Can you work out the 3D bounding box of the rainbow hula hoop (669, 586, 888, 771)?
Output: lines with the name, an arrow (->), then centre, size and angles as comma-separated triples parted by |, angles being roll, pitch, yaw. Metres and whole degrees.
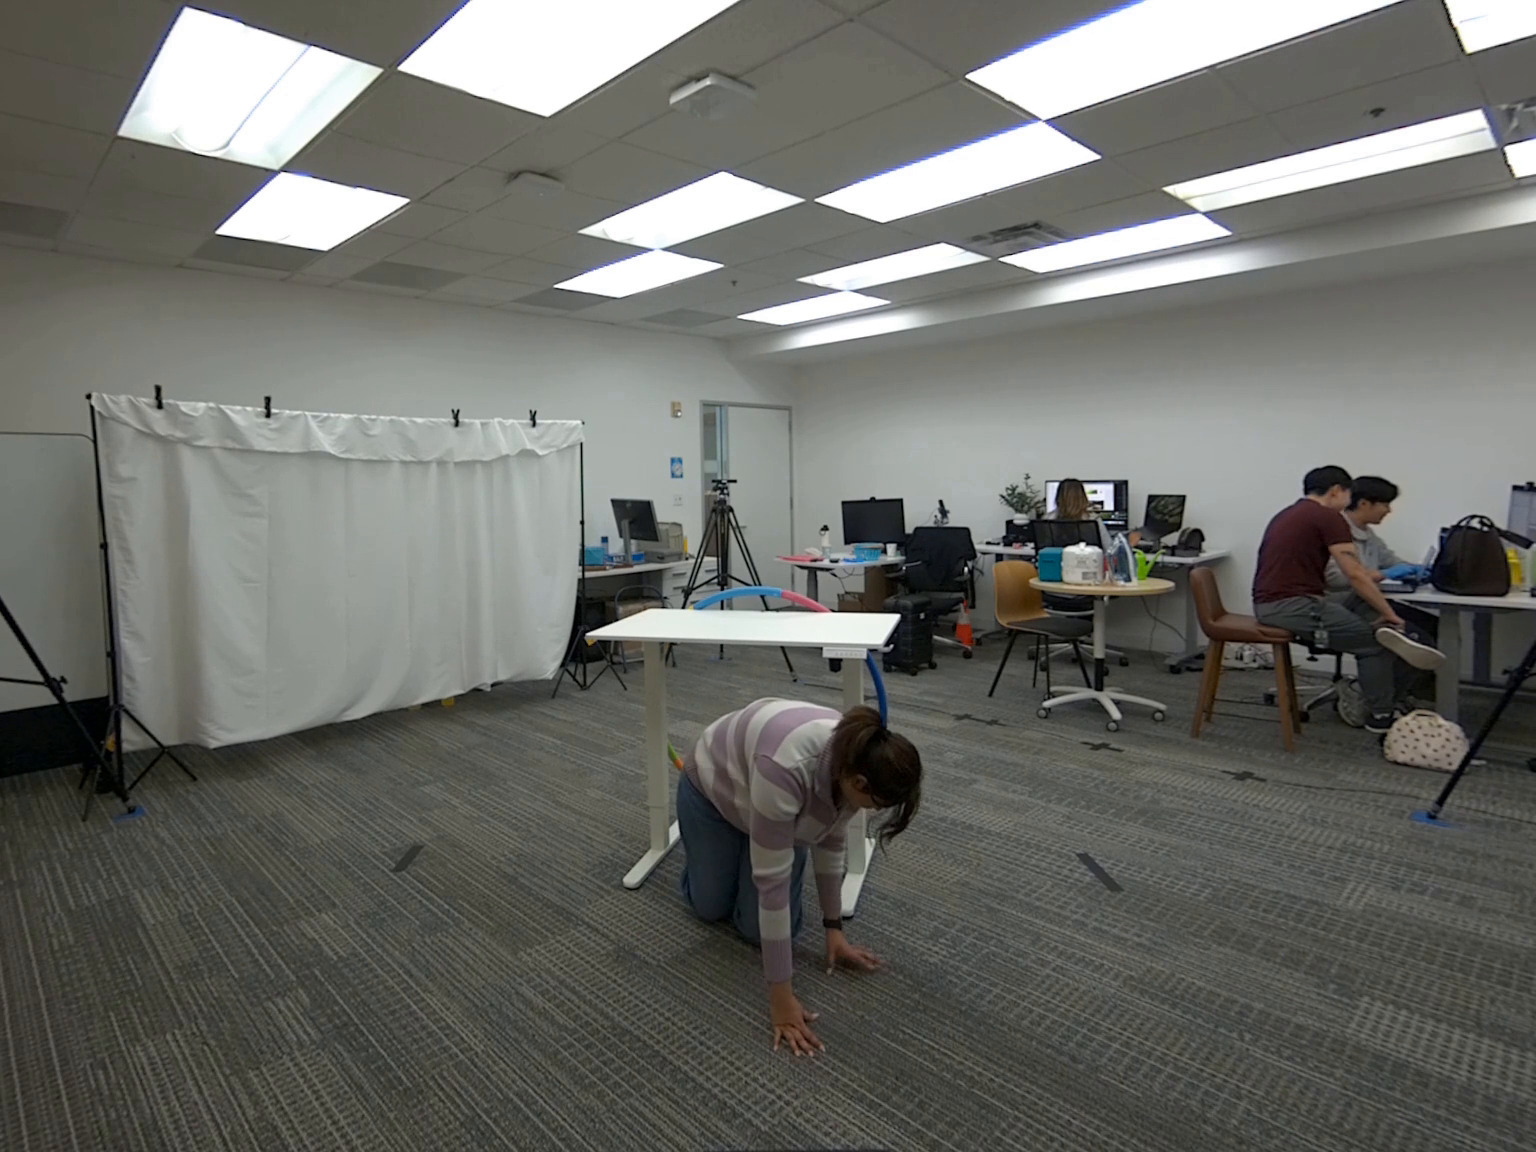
rainbow hula hoop -> -0.013, 0.529, 3.438 | 0.995, 0.969, 0.035 | 1, 11, 17
